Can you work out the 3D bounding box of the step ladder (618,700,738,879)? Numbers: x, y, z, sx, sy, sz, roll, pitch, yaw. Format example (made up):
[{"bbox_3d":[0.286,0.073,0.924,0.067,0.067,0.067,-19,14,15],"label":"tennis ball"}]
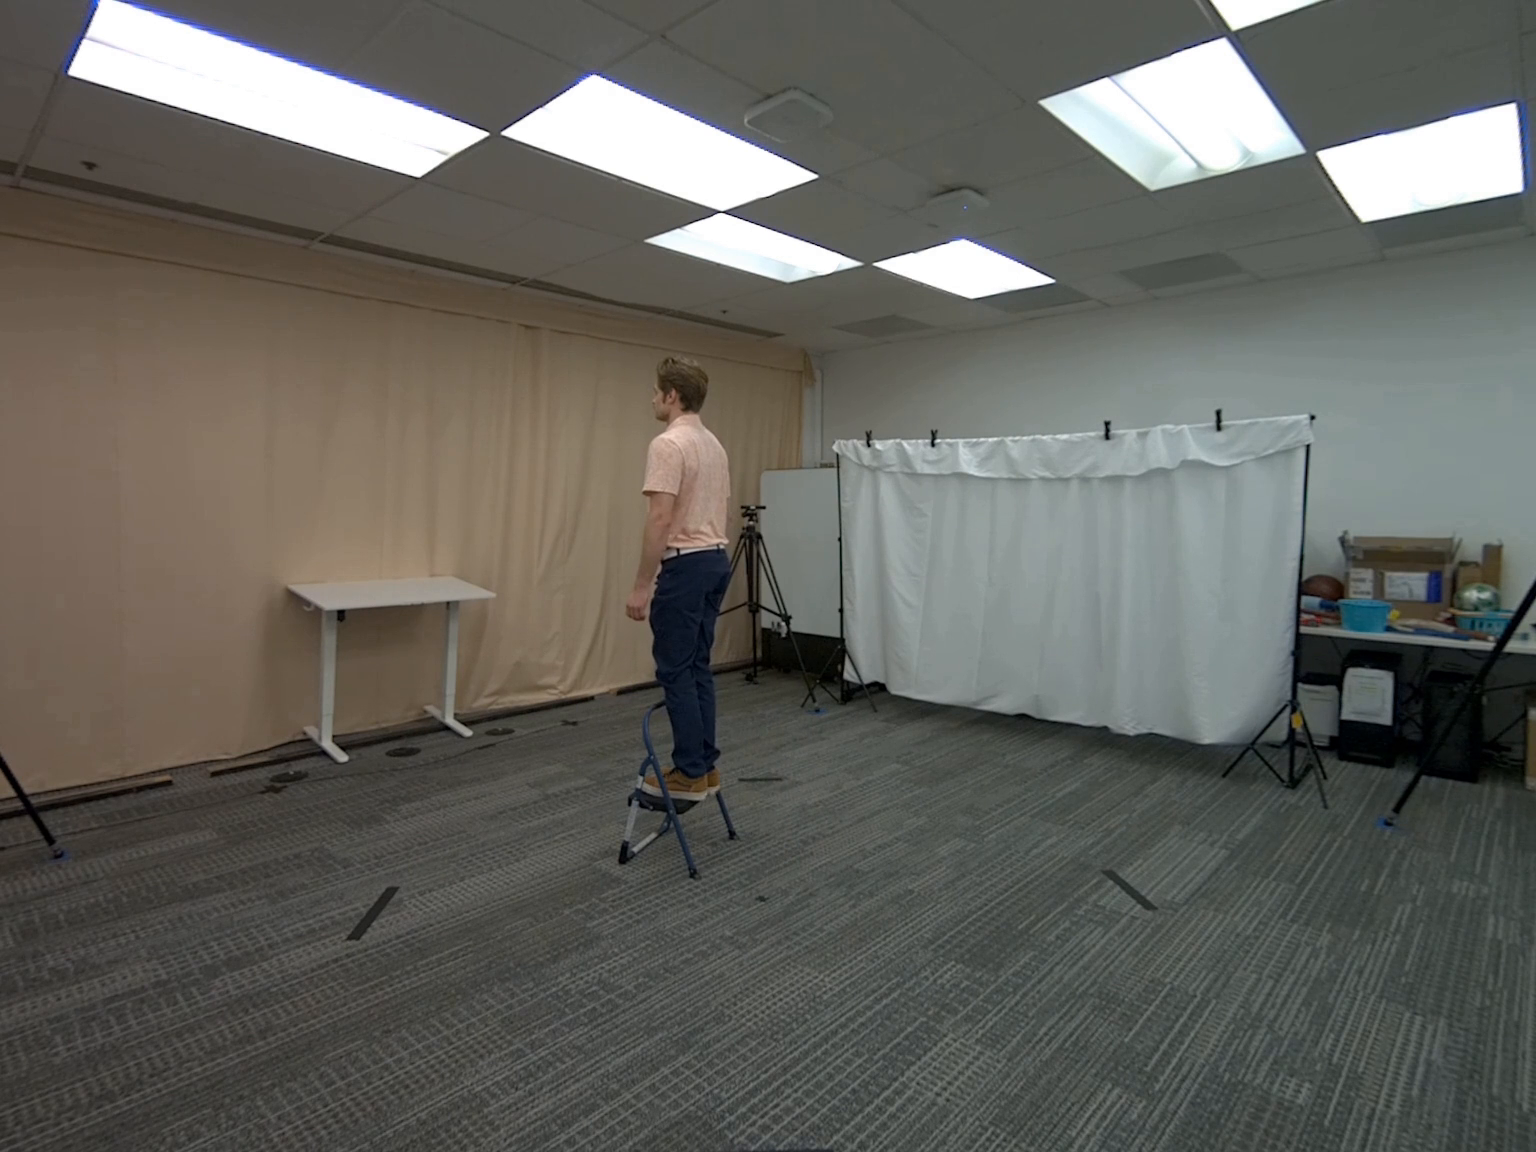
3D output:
[{"bbox_3d":[-0.358,0.811,3.391,0.357,0.605,0.422,1,3,21],"label":"step ladder"}]
